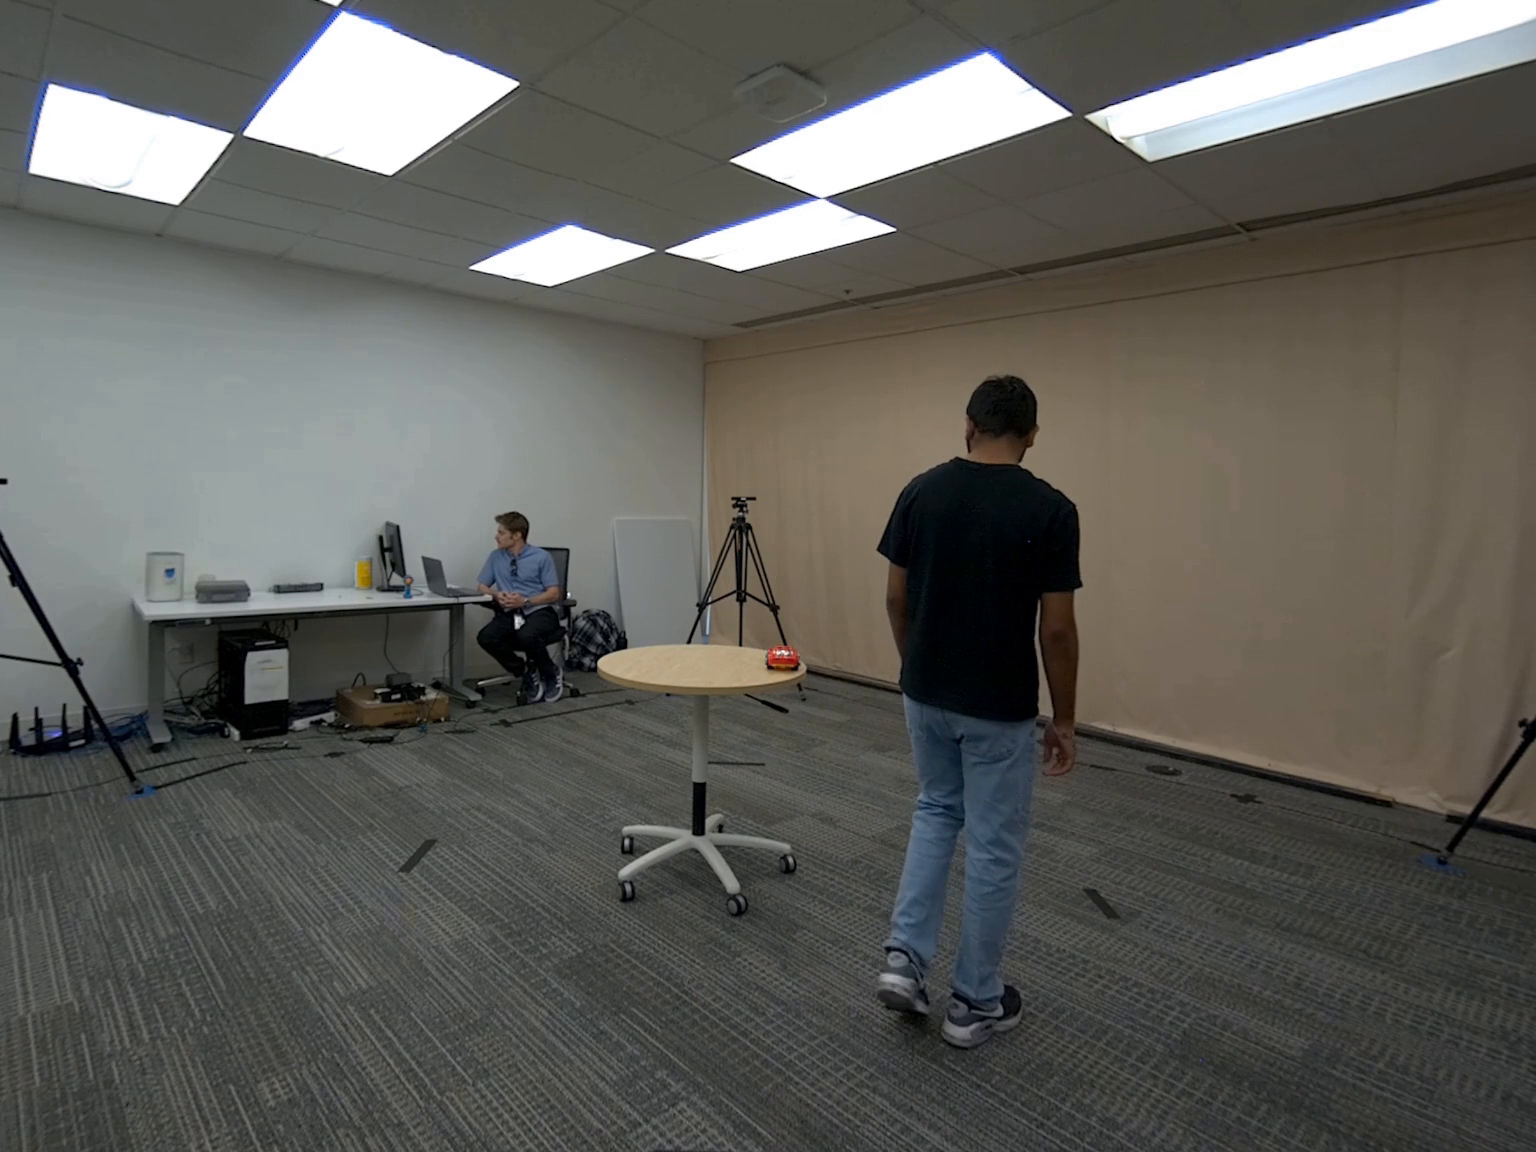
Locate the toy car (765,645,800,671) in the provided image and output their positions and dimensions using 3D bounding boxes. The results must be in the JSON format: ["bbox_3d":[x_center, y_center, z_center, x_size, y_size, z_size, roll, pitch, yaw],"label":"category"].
[{"bbox_3d":[0.048,0.301,3.072,0.130,0.083,0.253,2,-6,1],"label":"toy car"}]
